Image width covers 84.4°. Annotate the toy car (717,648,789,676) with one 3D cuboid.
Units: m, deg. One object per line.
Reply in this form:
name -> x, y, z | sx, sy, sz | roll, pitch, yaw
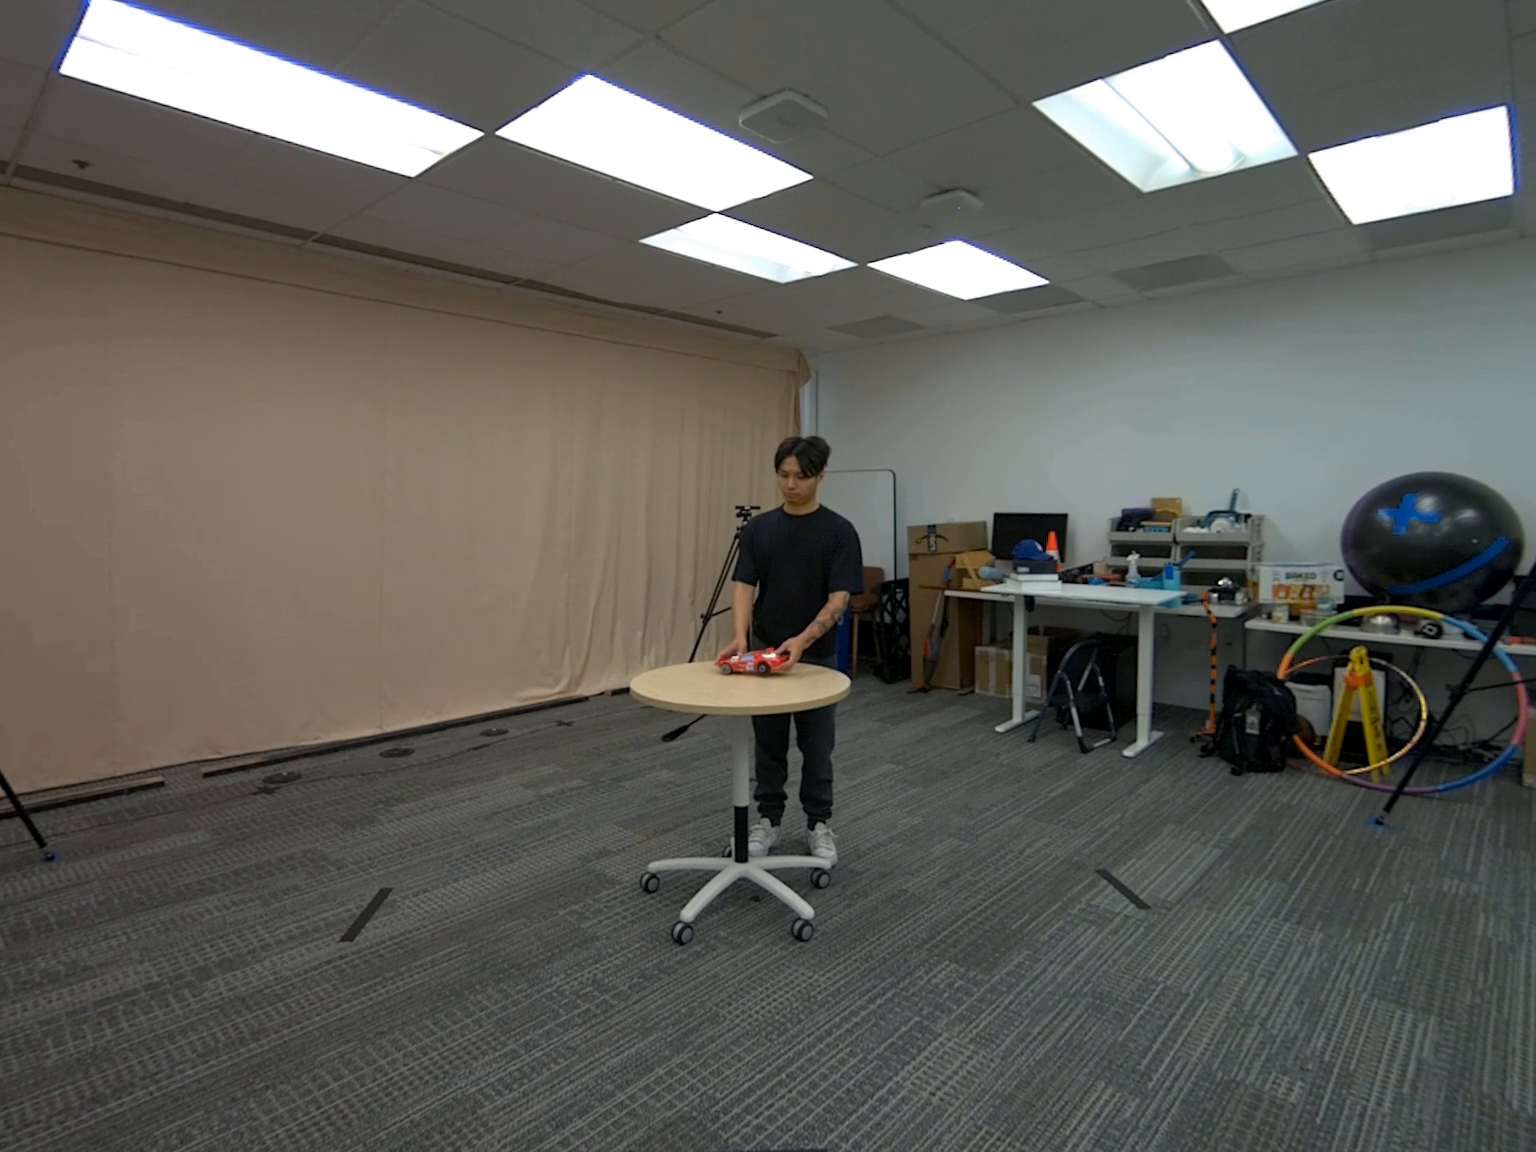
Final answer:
toy car -> -0.048, 0.318, 3.046 | 0.259, 0.083, 0.127 | -14, -1, 24
